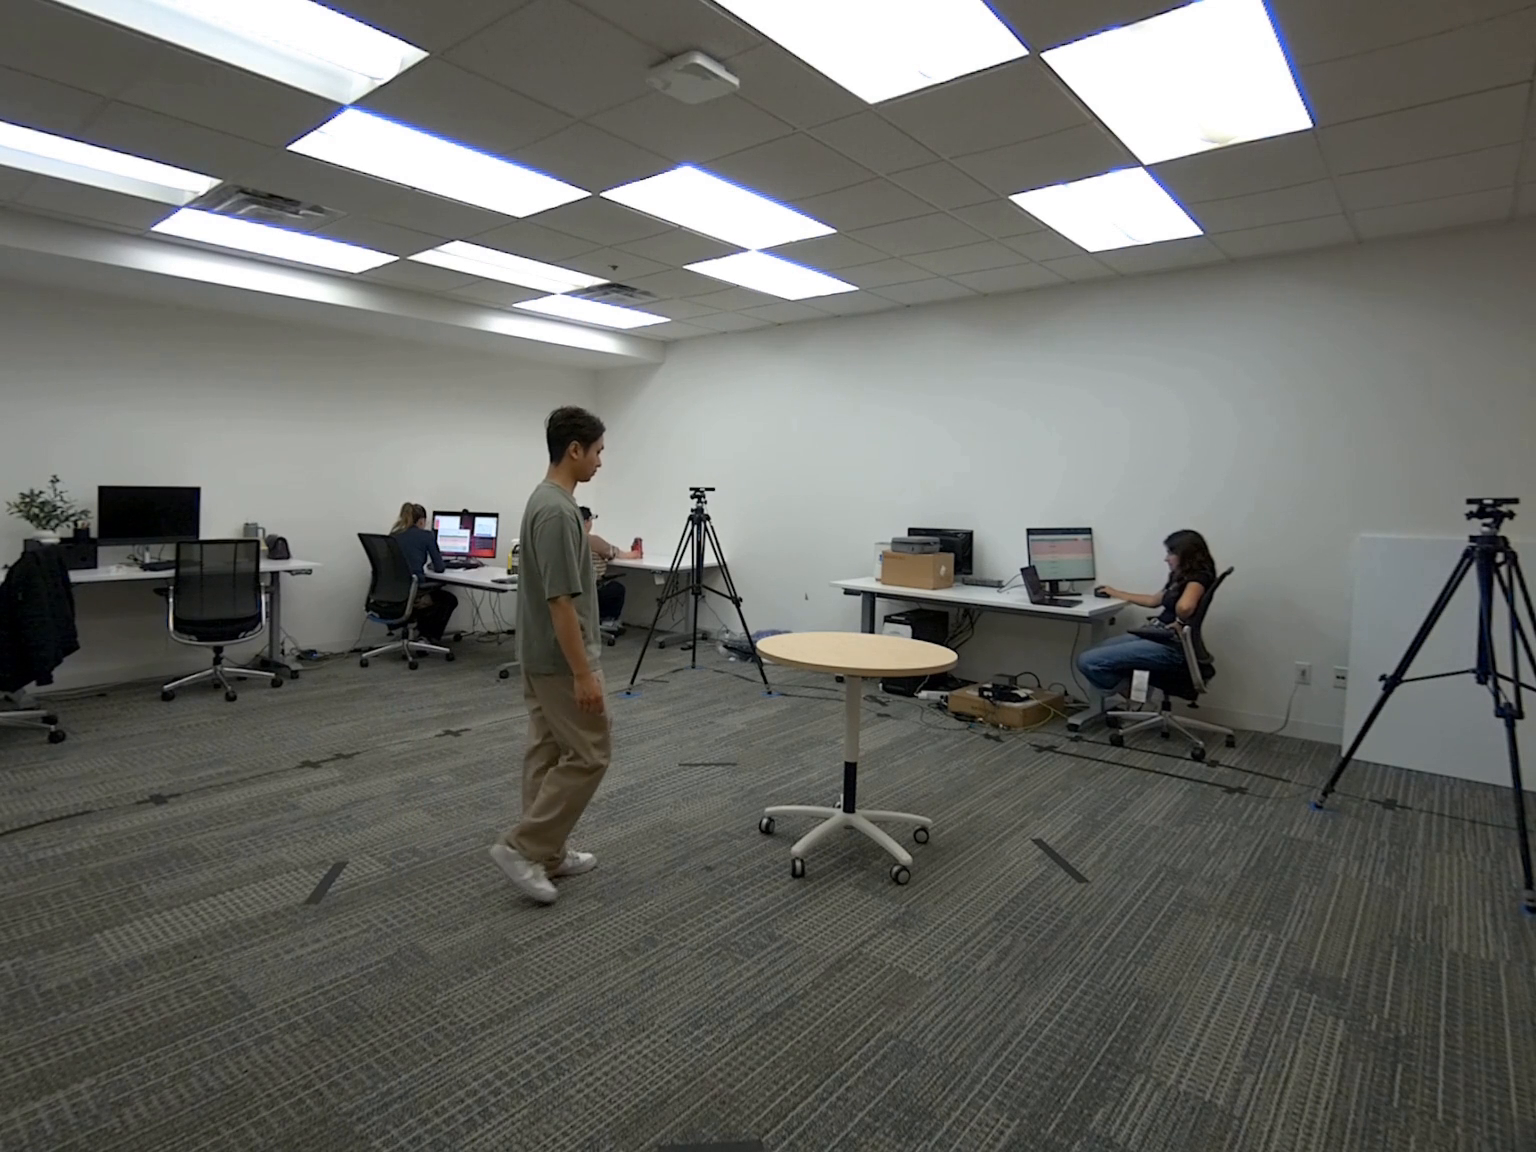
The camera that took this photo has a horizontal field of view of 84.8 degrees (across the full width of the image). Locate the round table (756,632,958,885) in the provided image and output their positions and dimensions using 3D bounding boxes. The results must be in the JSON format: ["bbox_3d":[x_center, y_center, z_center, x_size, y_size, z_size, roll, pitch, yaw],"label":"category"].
[{"bbox_3d":[0.316,0.667,3.319,0.784,0.784,0.789,1,4,-2],"label":"round table"}]
